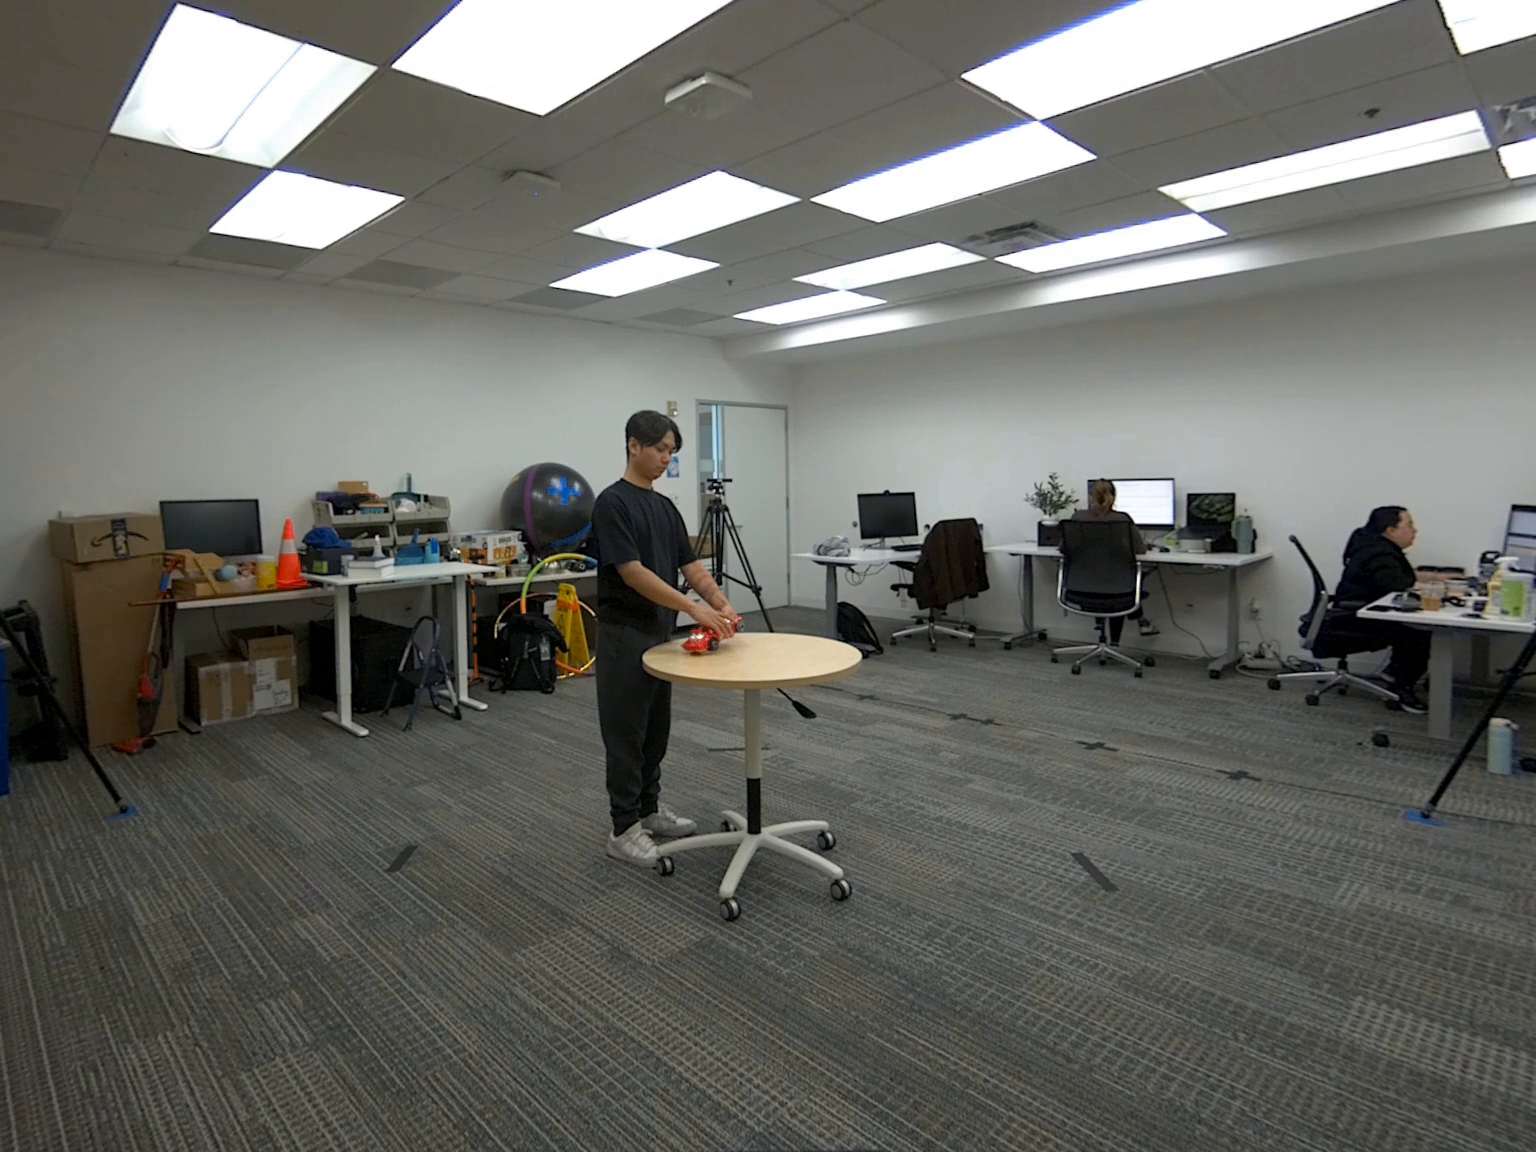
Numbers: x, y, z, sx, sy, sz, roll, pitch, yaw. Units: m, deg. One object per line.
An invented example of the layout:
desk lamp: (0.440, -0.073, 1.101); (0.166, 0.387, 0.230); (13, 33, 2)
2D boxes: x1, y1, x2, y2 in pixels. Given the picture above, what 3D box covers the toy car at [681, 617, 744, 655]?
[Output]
toy car: (-0.201, 0.216, 3.059); (0.134, 0.083, 0.249); (-5, 8, 43)
